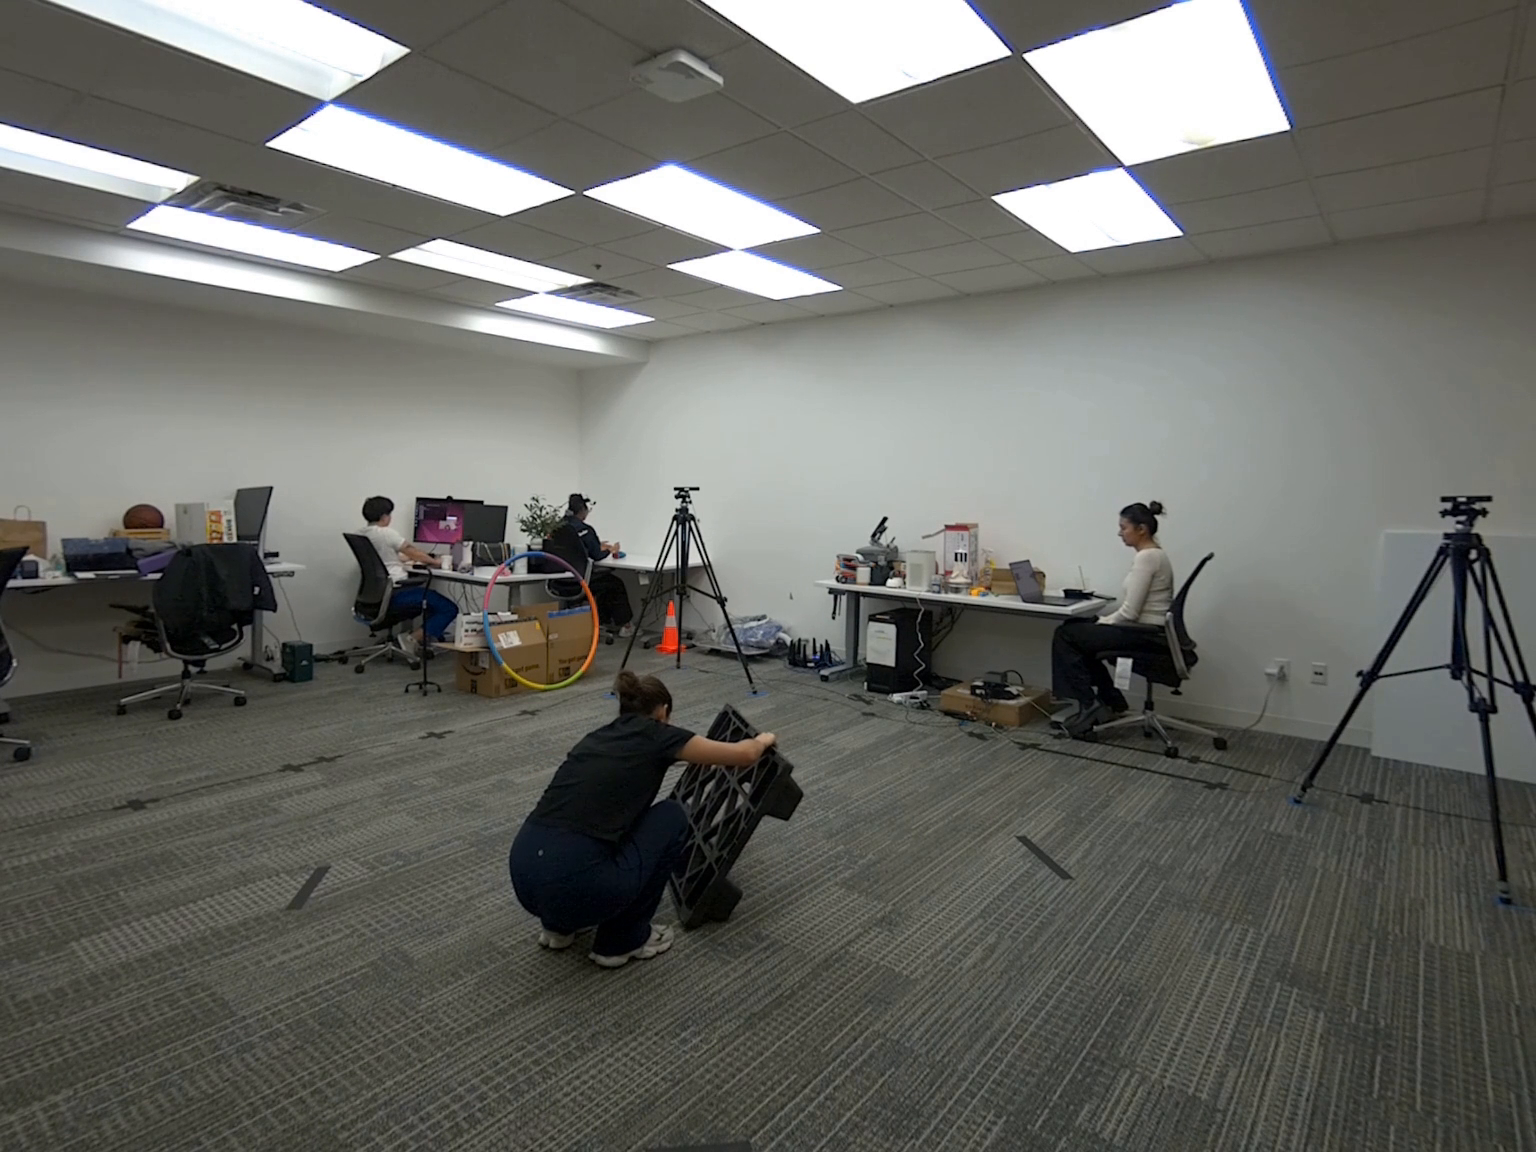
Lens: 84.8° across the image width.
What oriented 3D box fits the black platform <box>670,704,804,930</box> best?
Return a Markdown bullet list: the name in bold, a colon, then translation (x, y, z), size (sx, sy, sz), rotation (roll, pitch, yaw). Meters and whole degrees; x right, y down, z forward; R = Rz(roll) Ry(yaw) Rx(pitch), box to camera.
- **black platform**: translation (-0.144, 0.829, 3.093), size (0.140, 0.606, 0.820), rotation (33, -4, -16)
